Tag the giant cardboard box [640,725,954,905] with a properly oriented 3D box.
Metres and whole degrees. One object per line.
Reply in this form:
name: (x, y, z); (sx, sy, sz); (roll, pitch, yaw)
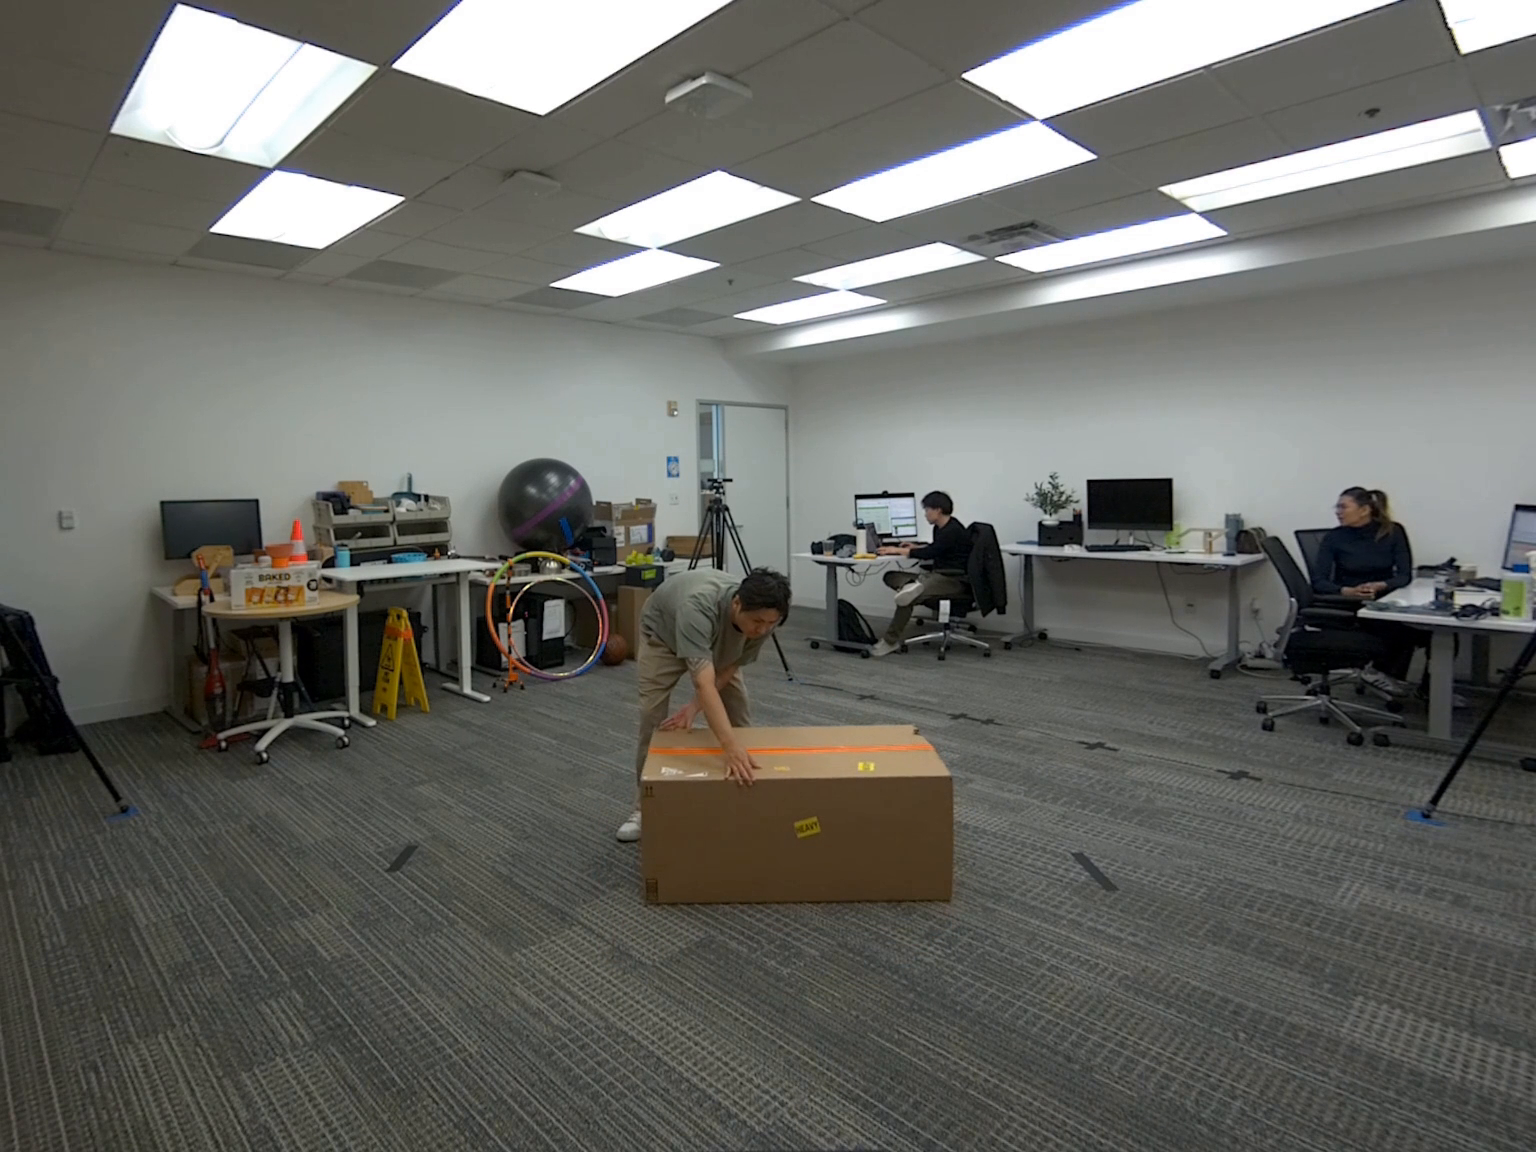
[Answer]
giant cardboard box: (0.084, 0.827, 3.071); (1.026, 0.425, 0.580); (-2, 5, 0)
